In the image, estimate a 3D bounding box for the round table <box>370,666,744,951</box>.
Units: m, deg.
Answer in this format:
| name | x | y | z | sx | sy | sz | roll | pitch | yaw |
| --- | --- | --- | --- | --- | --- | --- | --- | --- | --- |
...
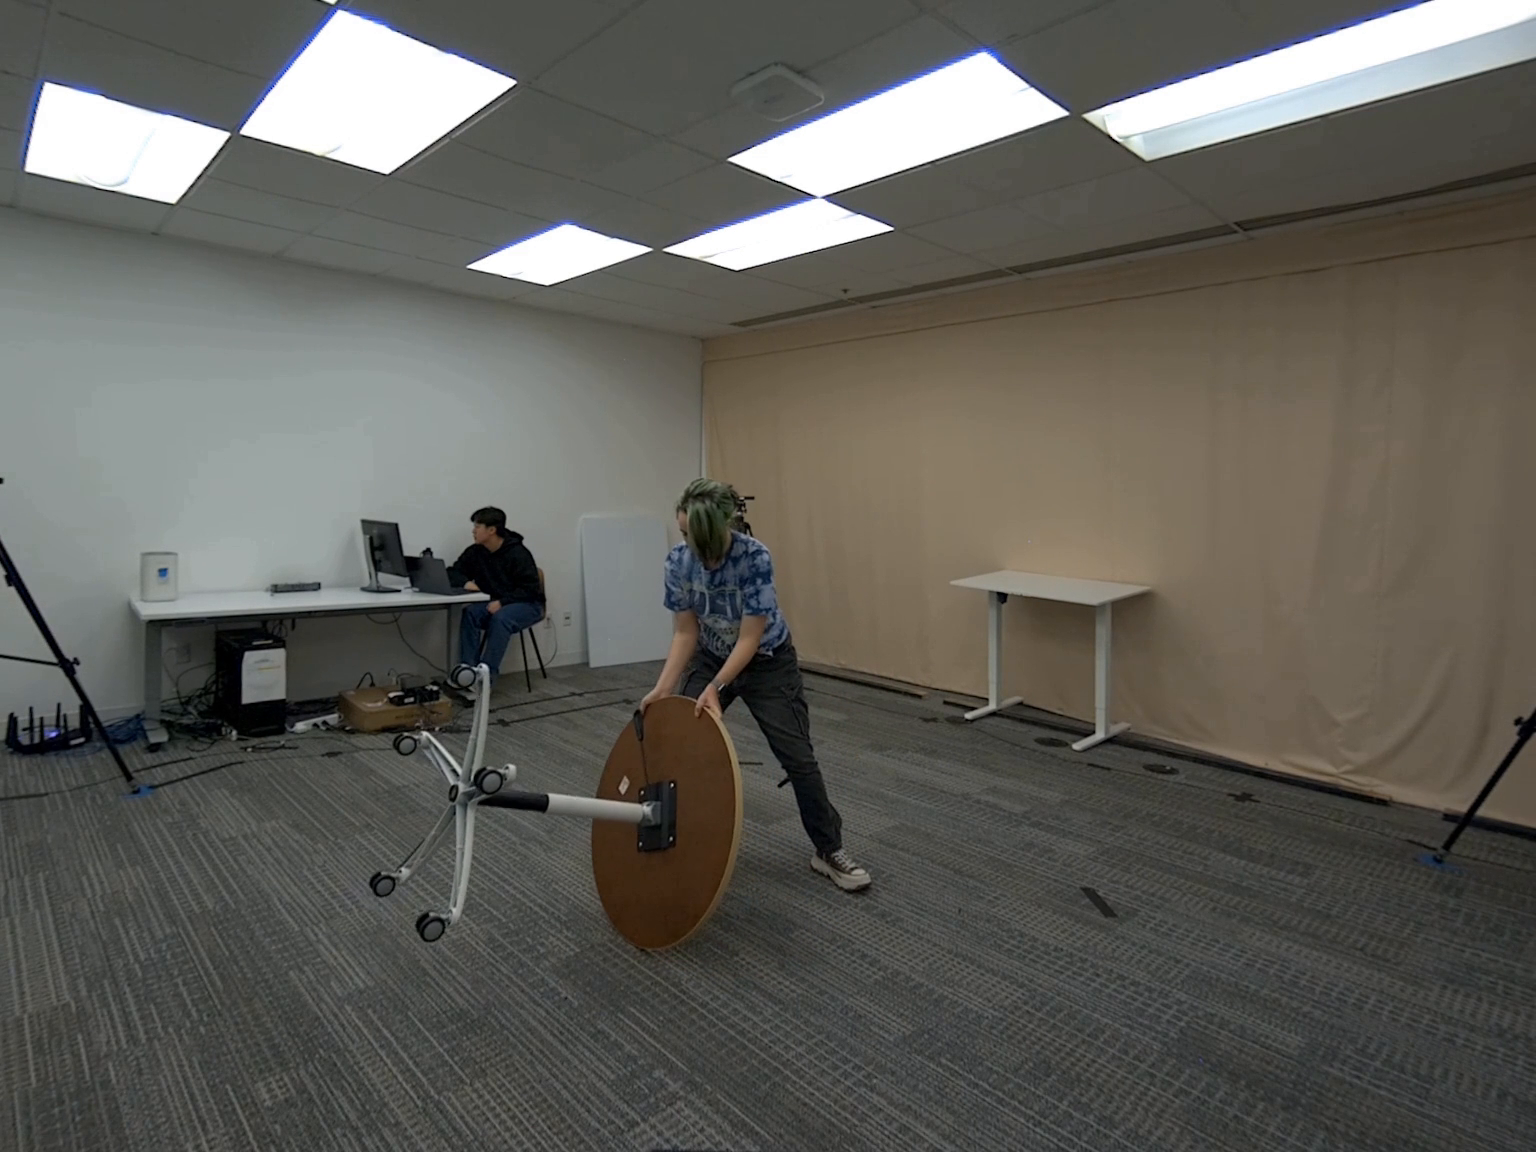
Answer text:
| name | x | y | z | sx | sy | sz | roll | pitch | yaw |
| --- | --- | --- | --- | --- | --- | --- | --- | --- | --- |
| round table | -0.633 | 0.678 | 2.462 | 0.771 | 0.766 | 0.783 | 19 | -8 | -38 |
